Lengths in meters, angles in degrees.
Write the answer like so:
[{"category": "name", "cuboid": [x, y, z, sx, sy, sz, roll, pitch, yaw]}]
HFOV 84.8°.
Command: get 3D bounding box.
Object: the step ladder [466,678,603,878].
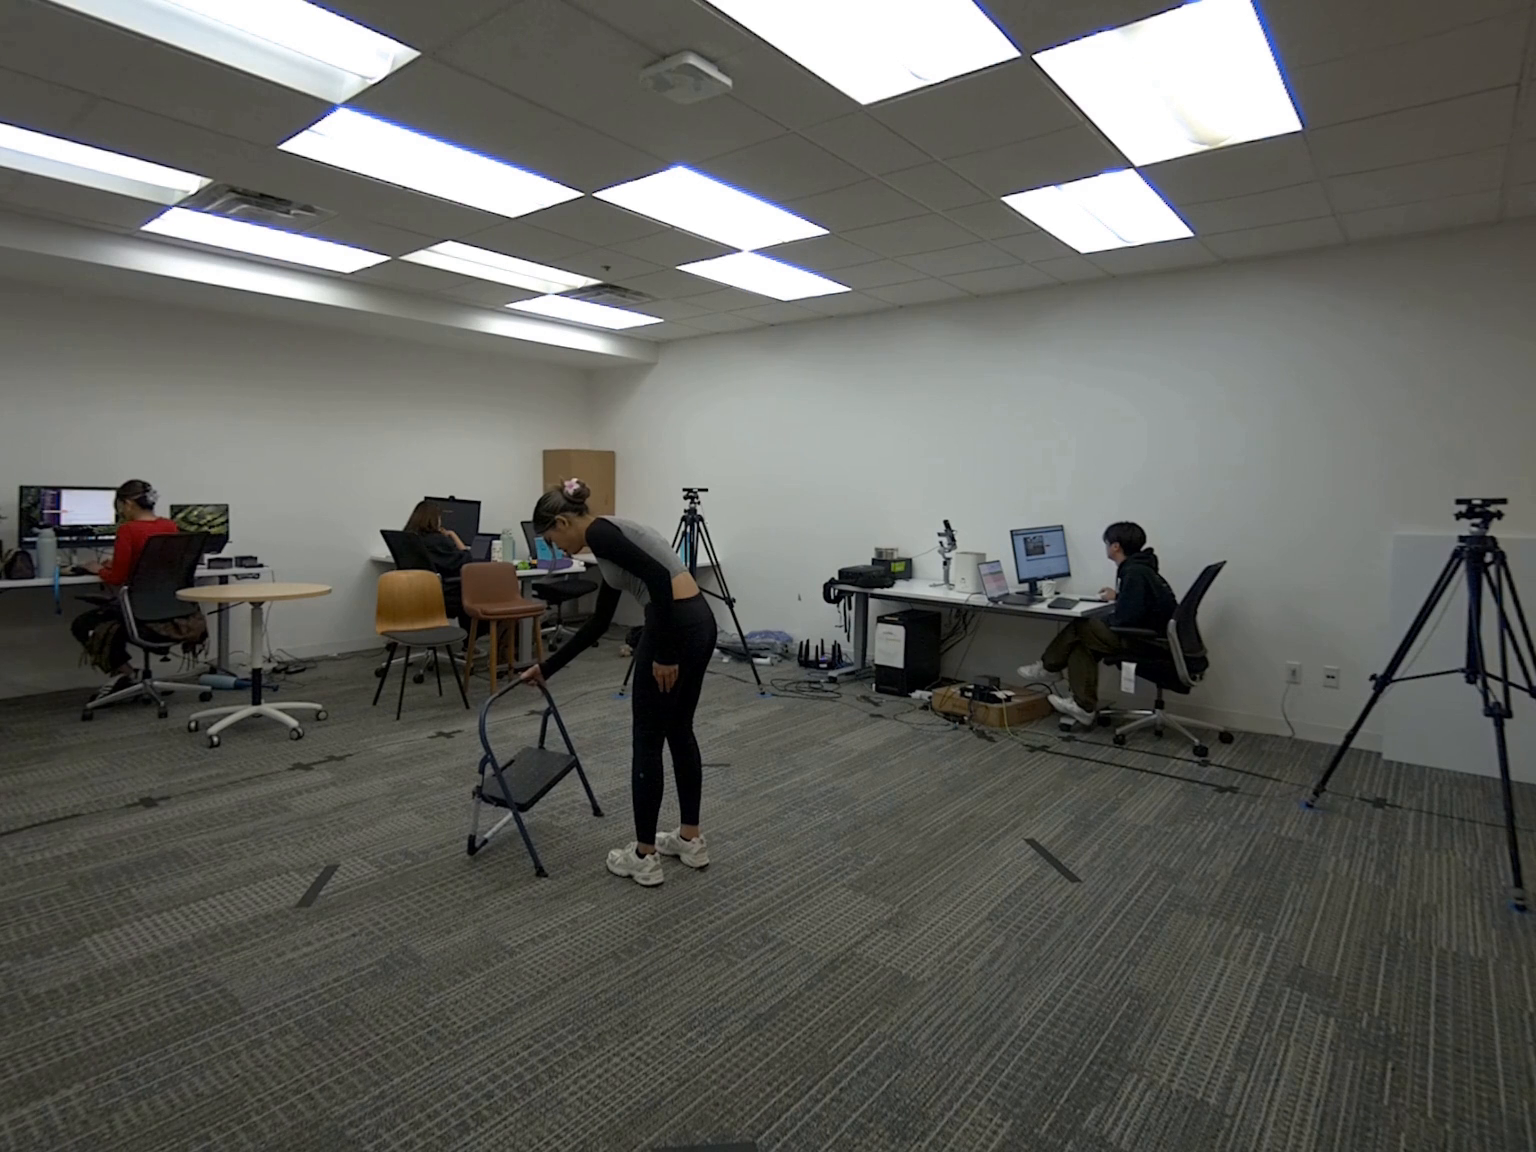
[{"category": "step ladder", "cuboid": [-0.907, 0.704, 3.198, 0.357, 0.597, 0.427, 4, 17, 21]}]
